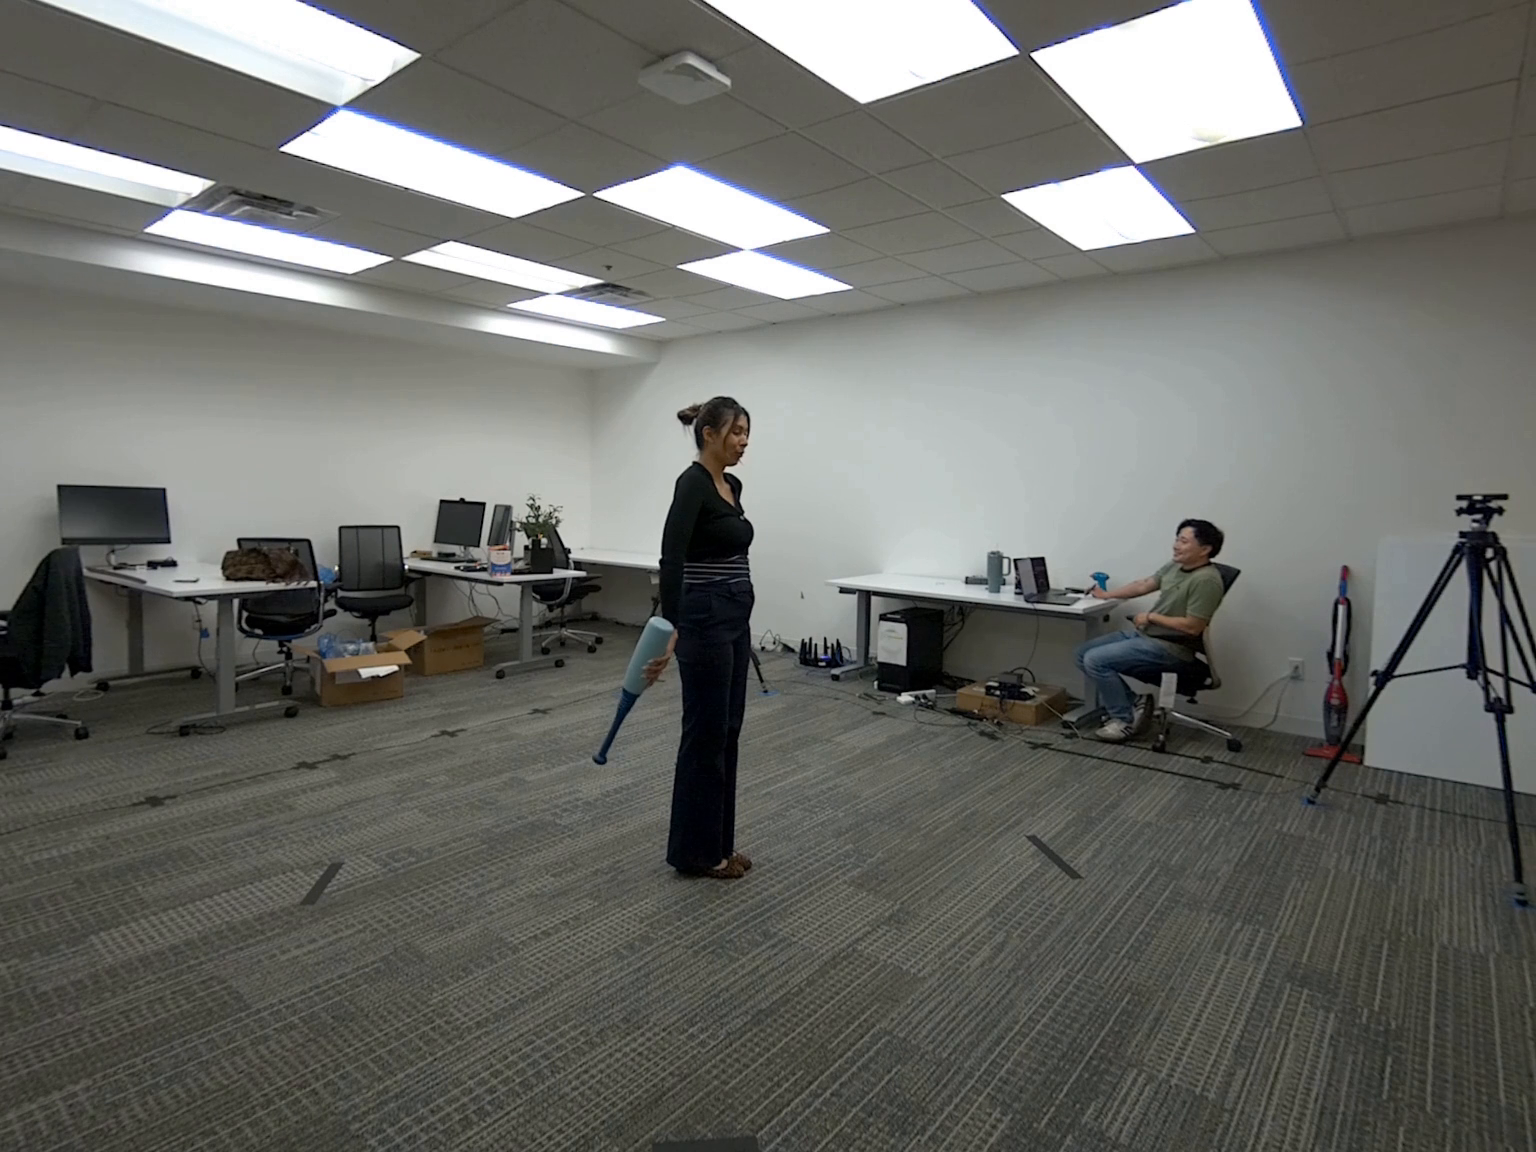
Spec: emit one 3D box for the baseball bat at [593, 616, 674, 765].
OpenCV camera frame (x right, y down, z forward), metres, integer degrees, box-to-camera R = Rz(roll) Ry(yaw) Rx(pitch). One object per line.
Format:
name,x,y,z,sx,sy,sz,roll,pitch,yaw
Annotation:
baseball bat,-0.452,0.375,2.729,0.088,0.539,0.091,24,16,-9
